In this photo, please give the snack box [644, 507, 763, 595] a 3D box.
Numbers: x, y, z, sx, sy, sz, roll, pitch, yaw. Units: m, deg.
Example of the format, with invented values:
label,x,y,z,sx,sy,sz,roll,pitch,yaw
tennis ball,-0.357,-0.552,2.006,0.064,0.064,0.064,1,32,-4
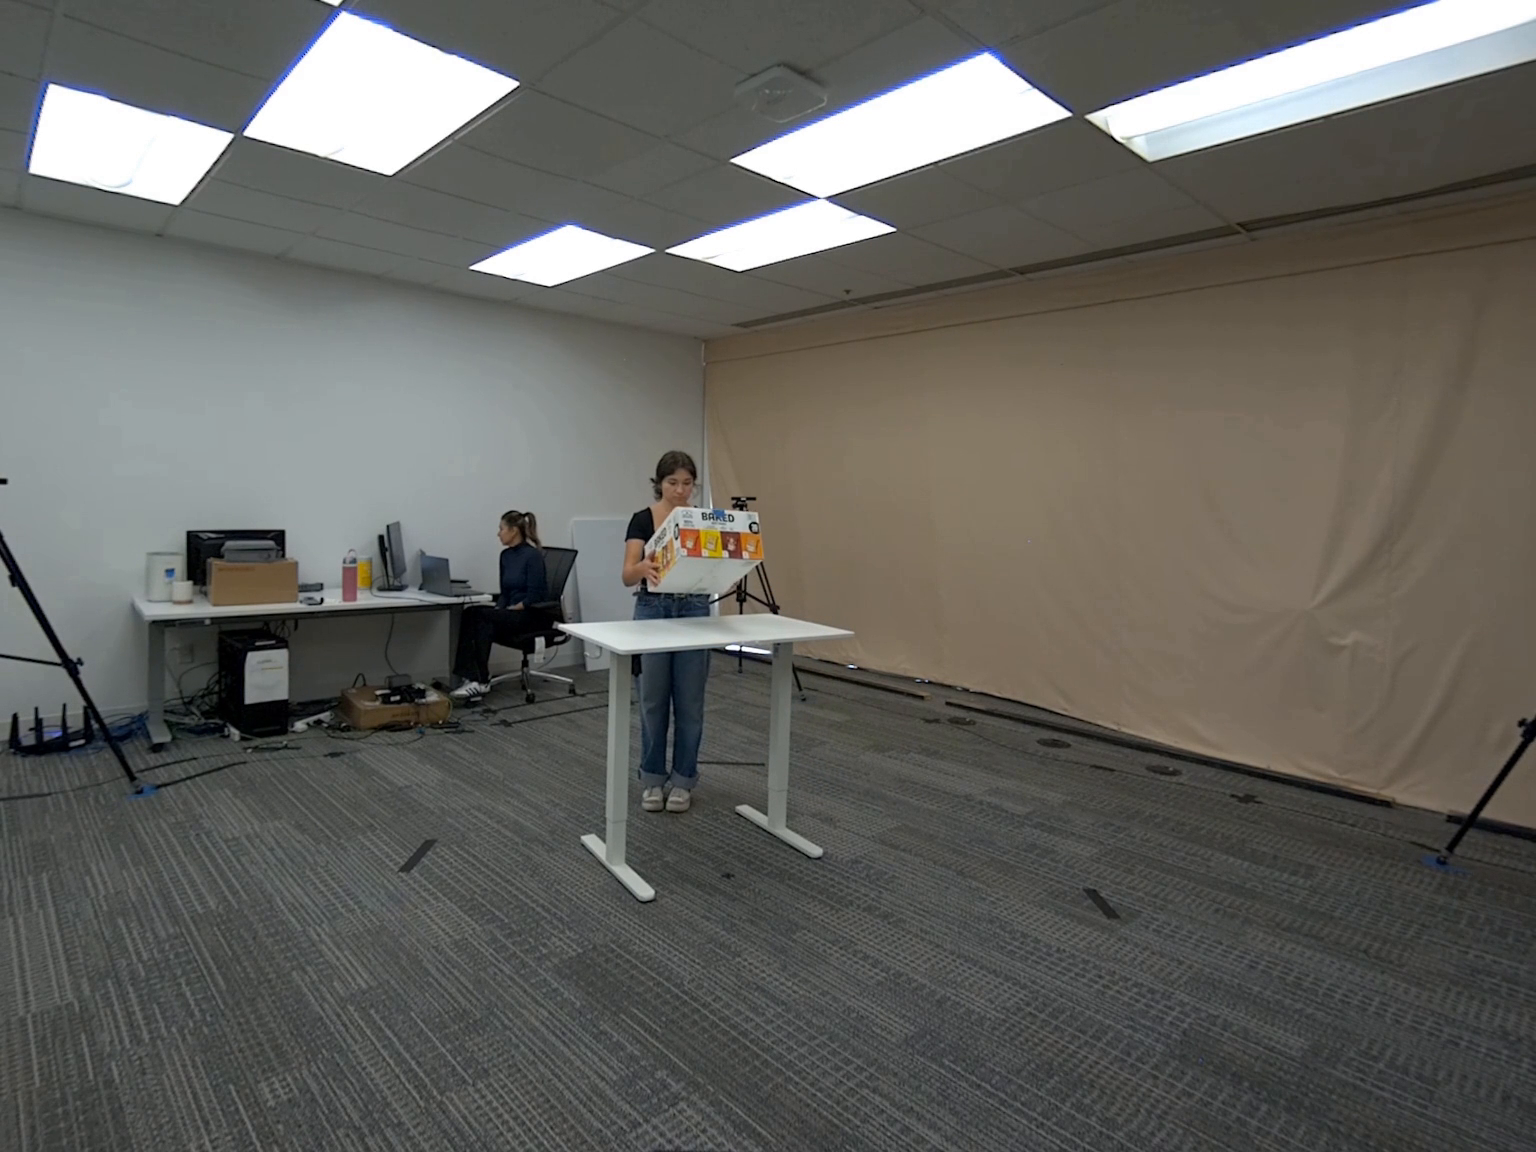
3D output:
label,x,y,z,sx,sy,sz,roll,pitch,yaw
snack box,-0.273,-0.090,3.360,0.334,0.209,0.406,3,-22,-25
